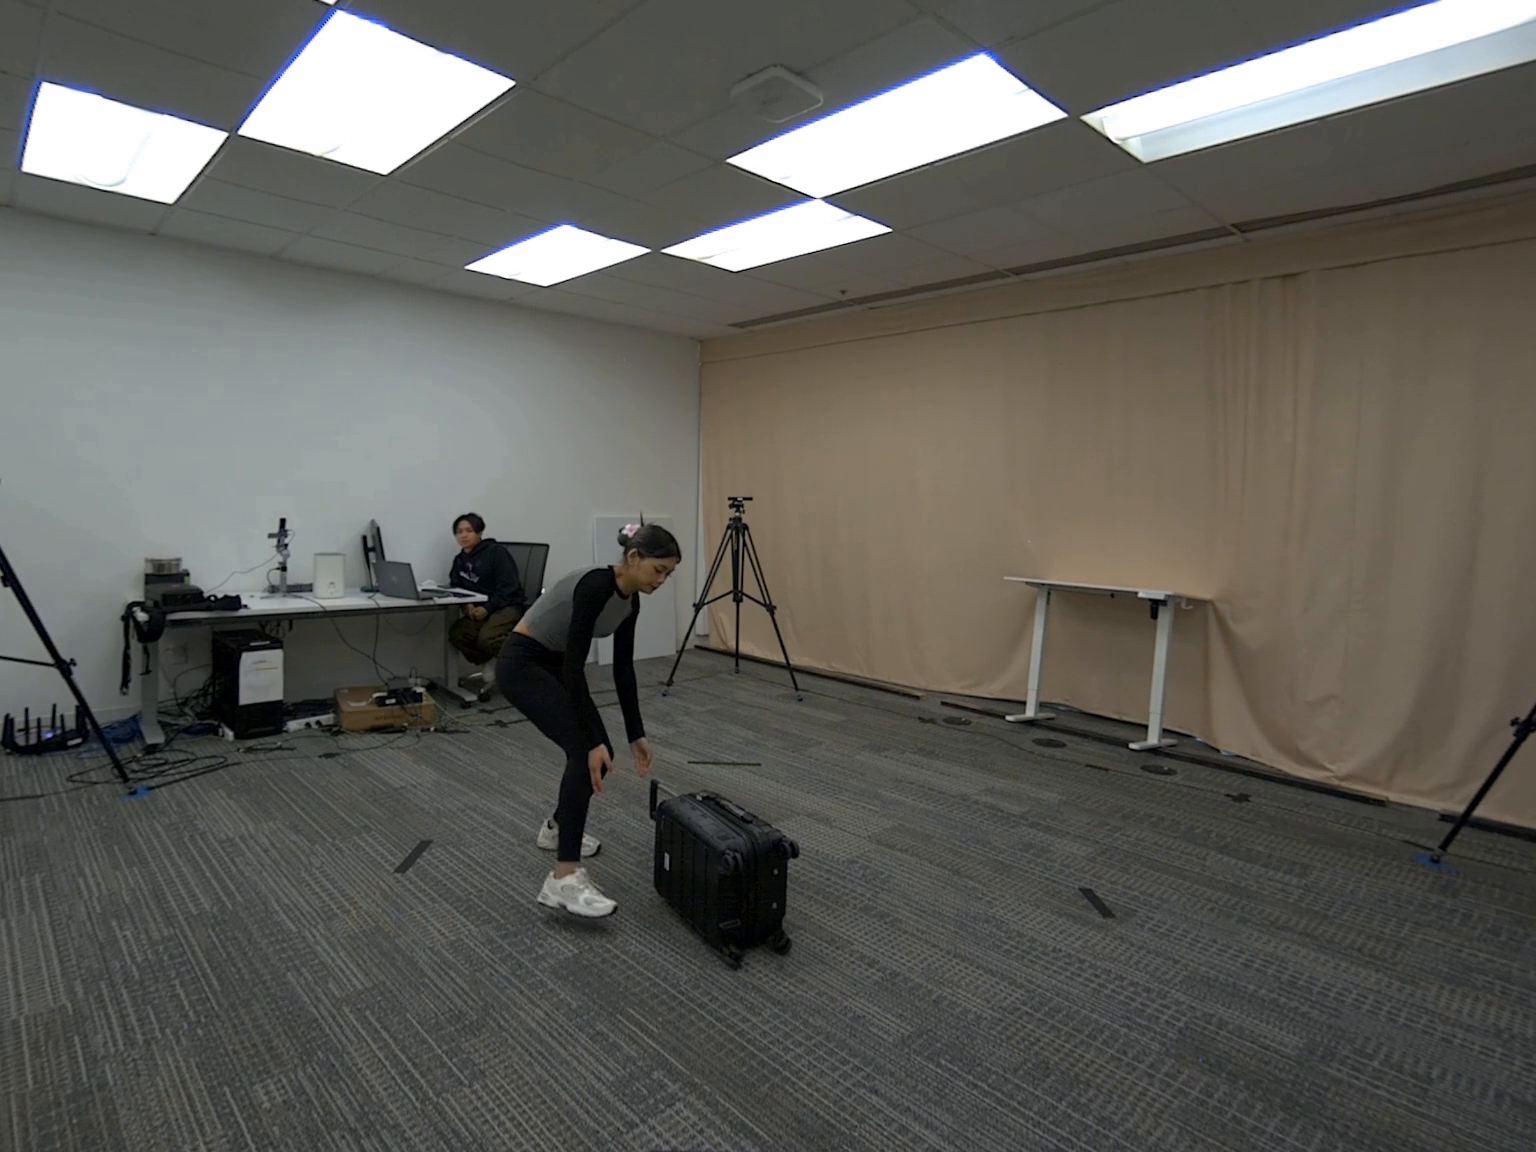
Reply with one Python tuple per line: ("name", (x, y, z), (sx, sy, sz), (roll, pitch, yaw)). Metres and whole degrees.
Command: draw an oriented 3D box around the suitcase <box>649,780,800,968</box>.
("suitcase", (-0.284, 0.936, 2.925), (0.251, 0.383, 1.002), (1, 5, -33))
